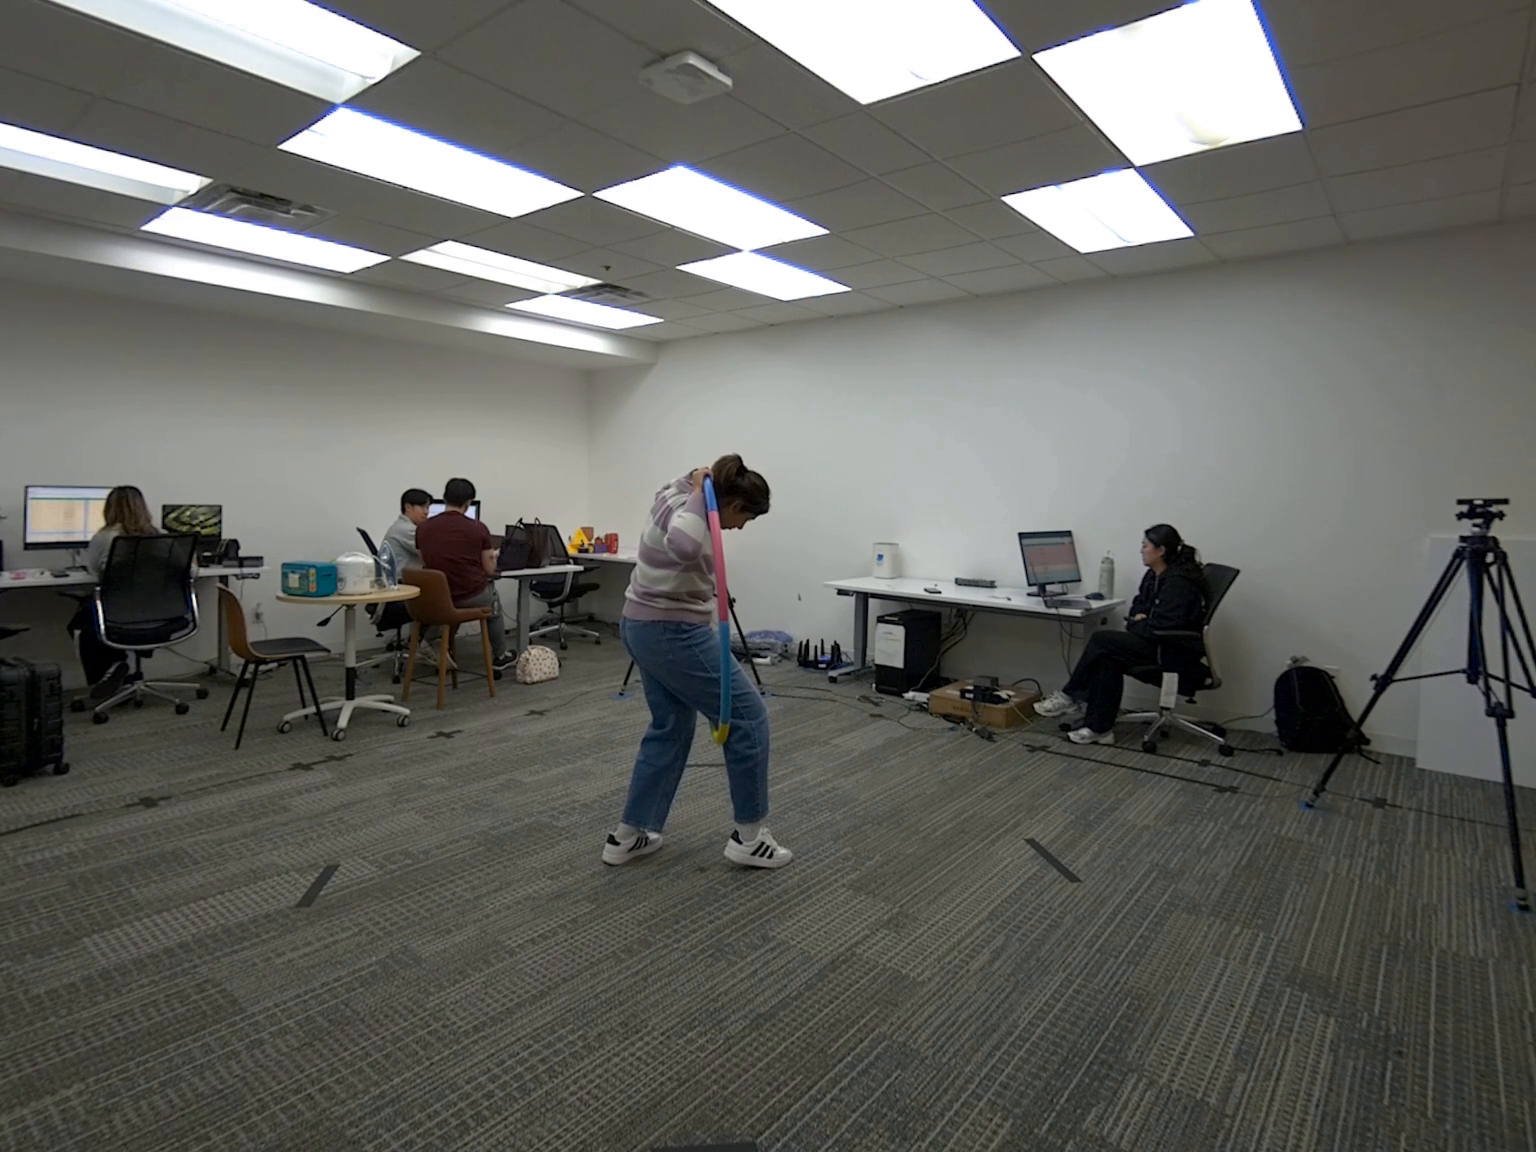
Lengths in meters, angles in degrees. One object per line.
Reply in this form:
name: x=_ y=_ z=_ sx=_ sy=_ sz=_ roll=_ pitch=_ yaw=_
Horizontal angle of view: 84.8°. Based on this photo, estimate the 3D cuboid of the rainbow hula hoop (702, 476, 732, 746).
rainbow hula hoop: x=-0.218 y=0.097 z=3.091 sx=0.051 sy=0.982 sz=0.994 roll=-2 pitch=4 yaw=-7
